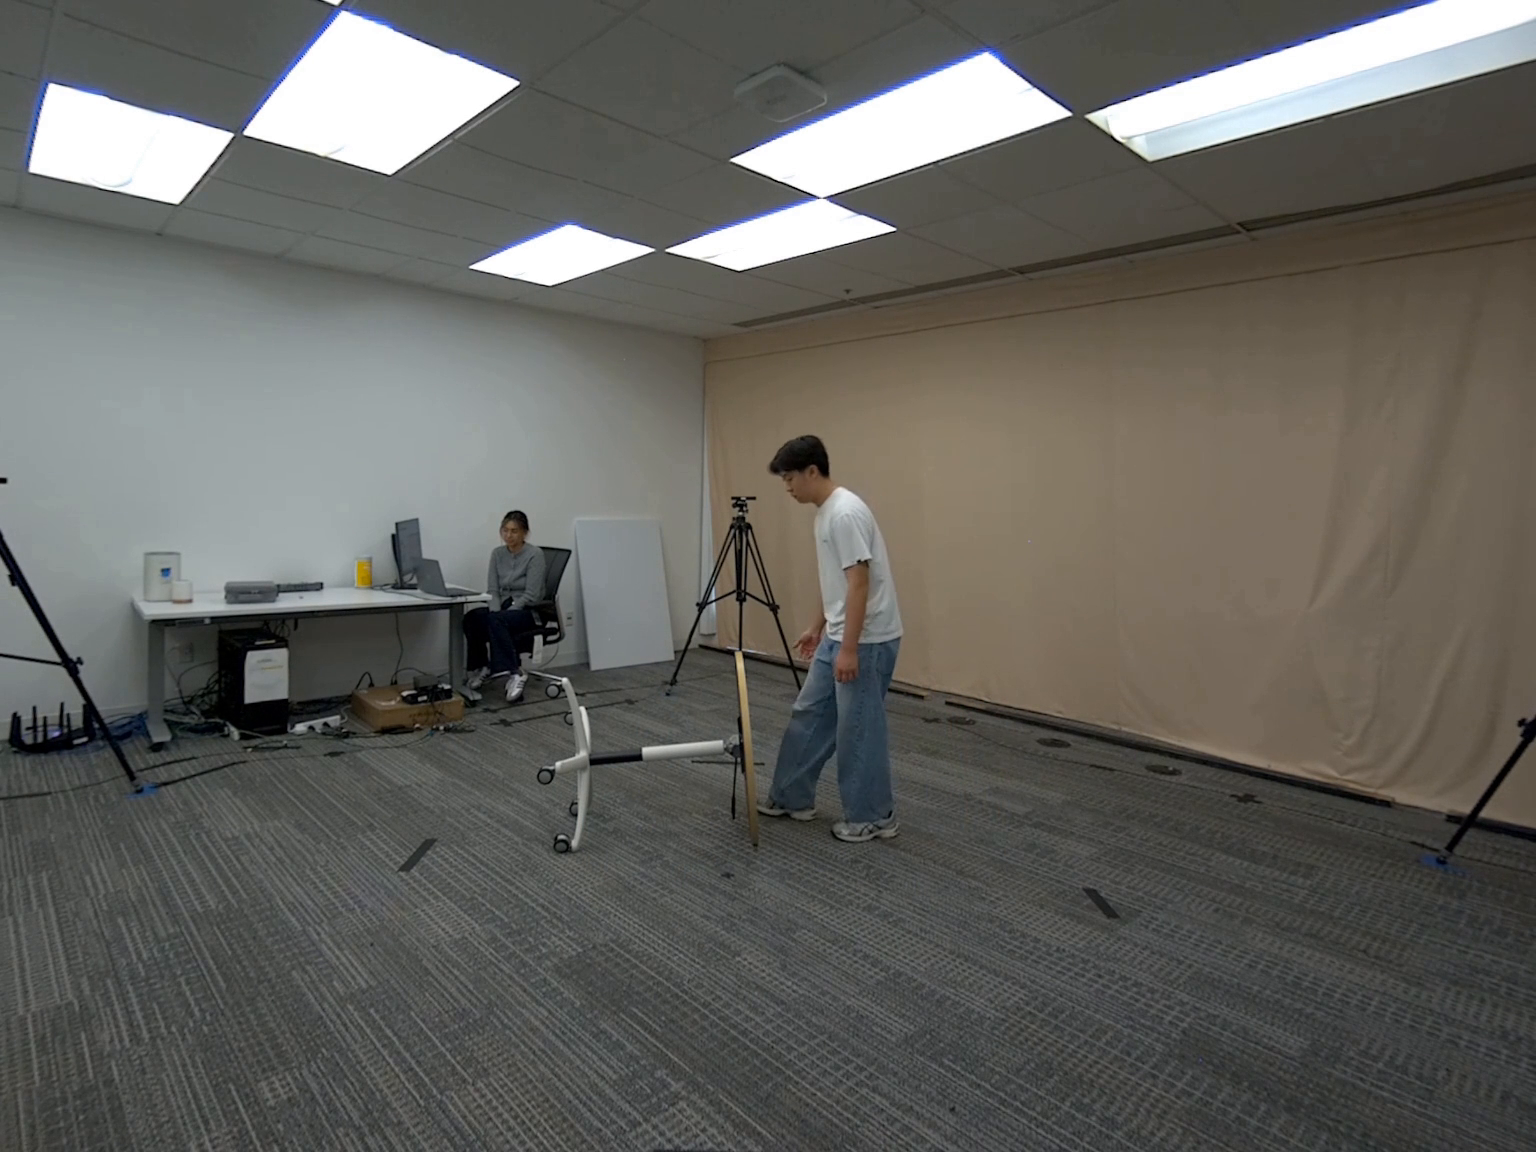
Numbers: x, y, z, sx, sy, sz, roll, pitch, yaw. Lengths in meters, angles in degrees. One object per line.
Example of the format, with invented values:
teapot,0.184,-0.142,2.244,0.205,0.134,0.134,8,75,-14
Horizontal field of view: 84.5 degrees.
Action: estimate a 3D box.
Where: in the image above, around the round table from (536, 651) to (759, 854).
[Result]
round table,-0.474,0.720,3.436,0.785,0.782,0.789,-4,4,-3
